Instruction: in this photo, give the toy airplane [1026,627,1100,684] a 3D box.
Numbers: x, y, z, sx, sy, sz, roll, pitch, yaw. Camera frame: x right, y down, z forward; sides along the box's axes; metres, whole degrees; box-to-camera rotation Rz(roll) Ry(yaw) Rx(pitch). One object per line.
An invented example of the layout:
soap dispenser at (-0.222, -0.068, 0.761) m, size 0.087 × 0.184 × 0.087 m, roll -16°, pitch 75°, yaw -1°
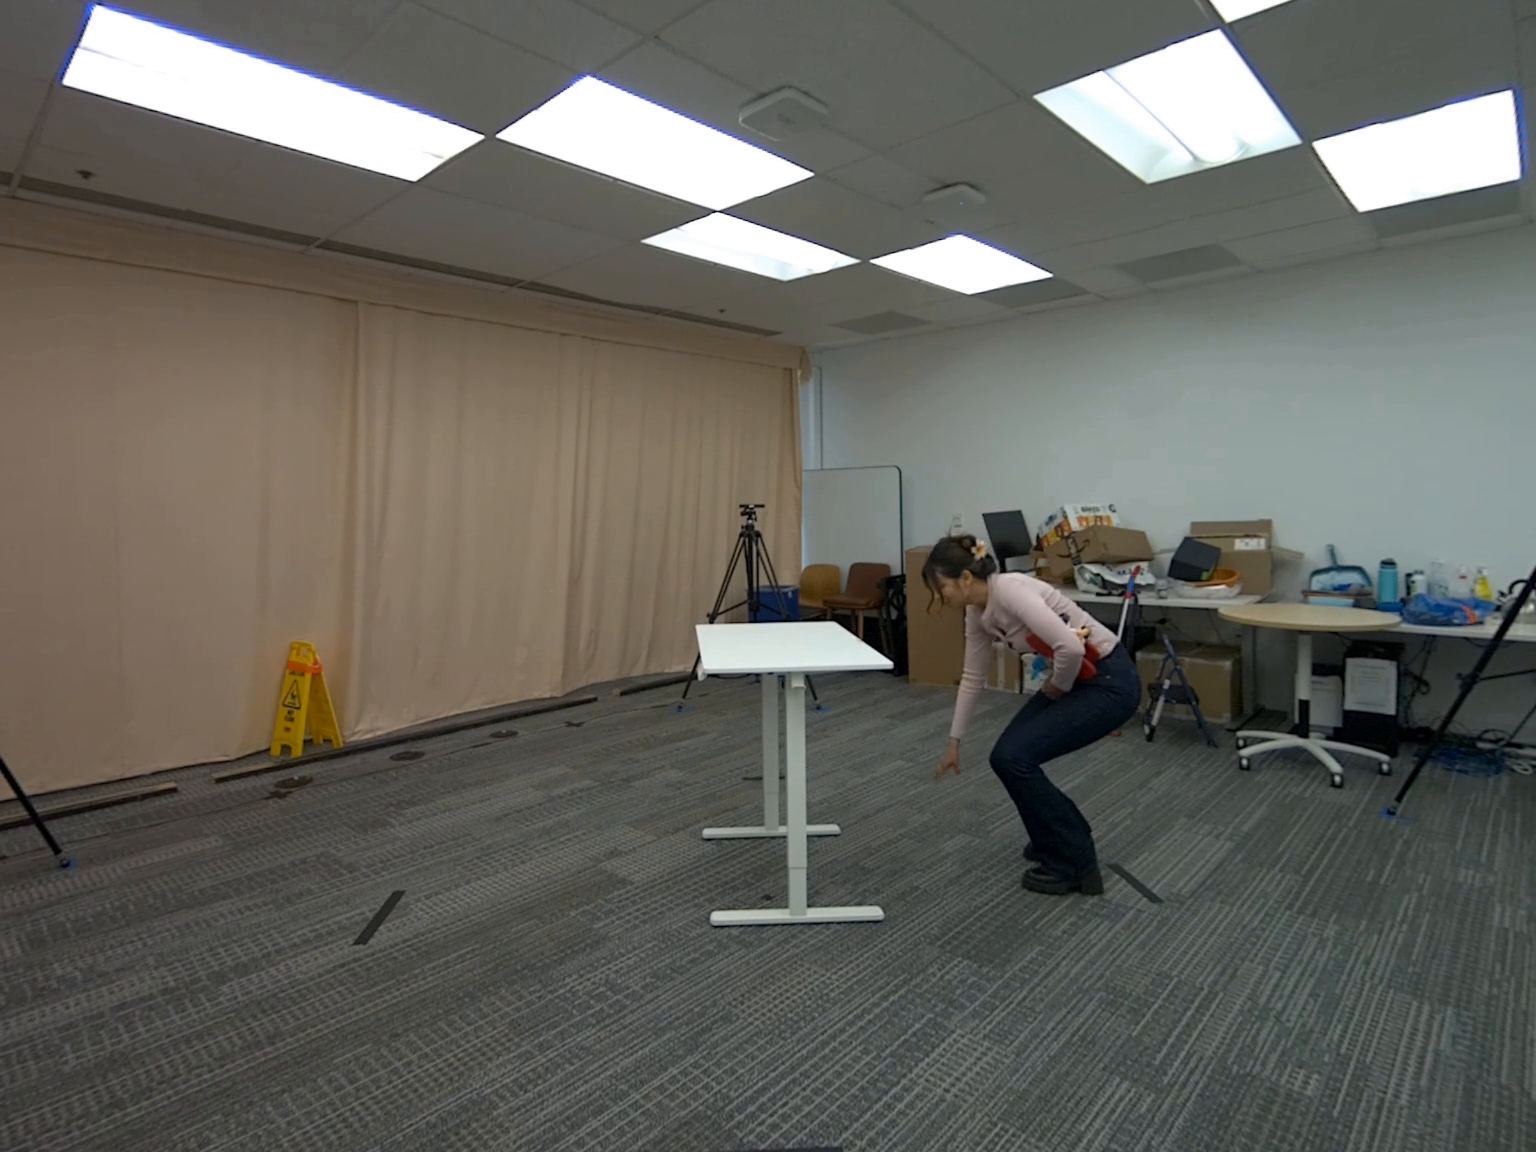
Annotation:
toy airplane at (1.027, 0.270, 2.968) m, size 0.256 × 0.255 × 0.155 m, roll 12°, pitch 29°, yaw 18°
